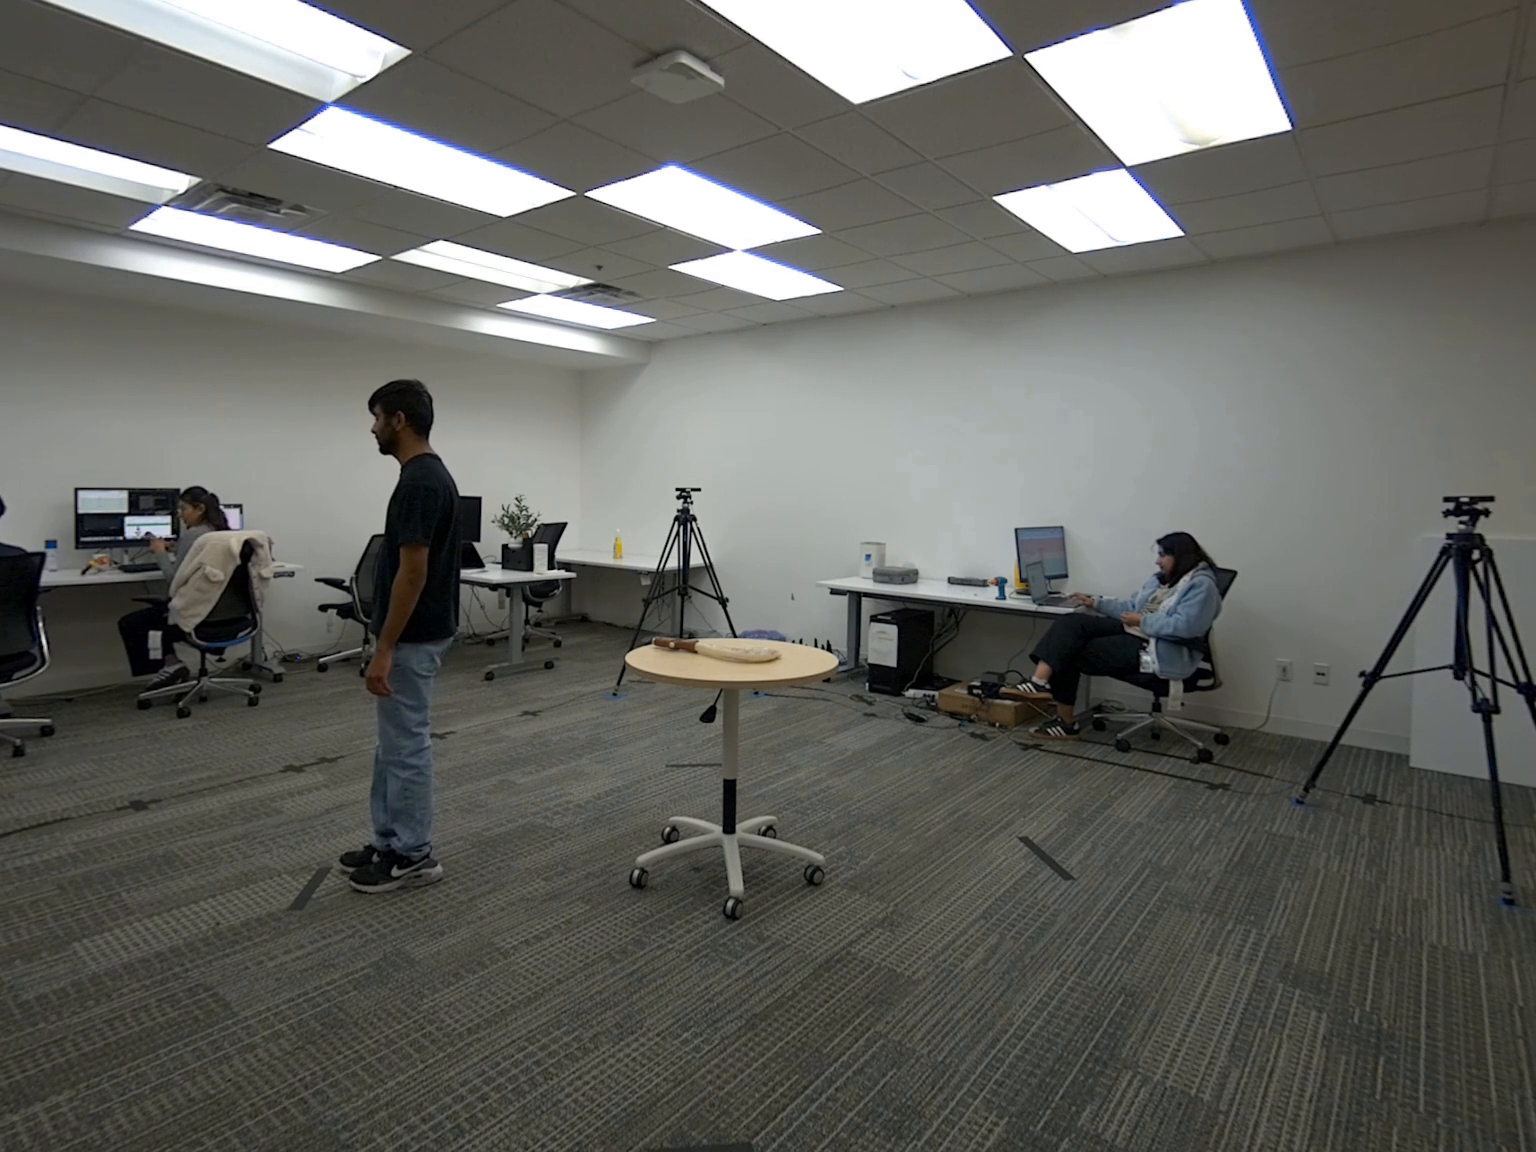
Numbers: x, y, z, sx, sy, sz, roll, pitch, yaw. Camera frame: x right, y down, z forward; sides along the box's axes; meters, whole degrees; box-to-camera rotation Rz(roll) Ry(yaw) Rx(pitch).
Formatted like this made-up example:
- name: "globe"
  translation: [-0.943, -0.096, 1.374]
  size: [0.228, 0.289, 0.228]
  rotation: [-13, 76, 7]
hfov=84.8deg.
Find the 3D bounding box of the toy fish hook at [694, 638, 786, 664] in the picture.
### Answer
- name: "toy fish hook"
  translation: [-0.204, 0.274, 3.145]
  size: [0.522, 0.048, 0.217]
  rotation: [6, -1, 30]
